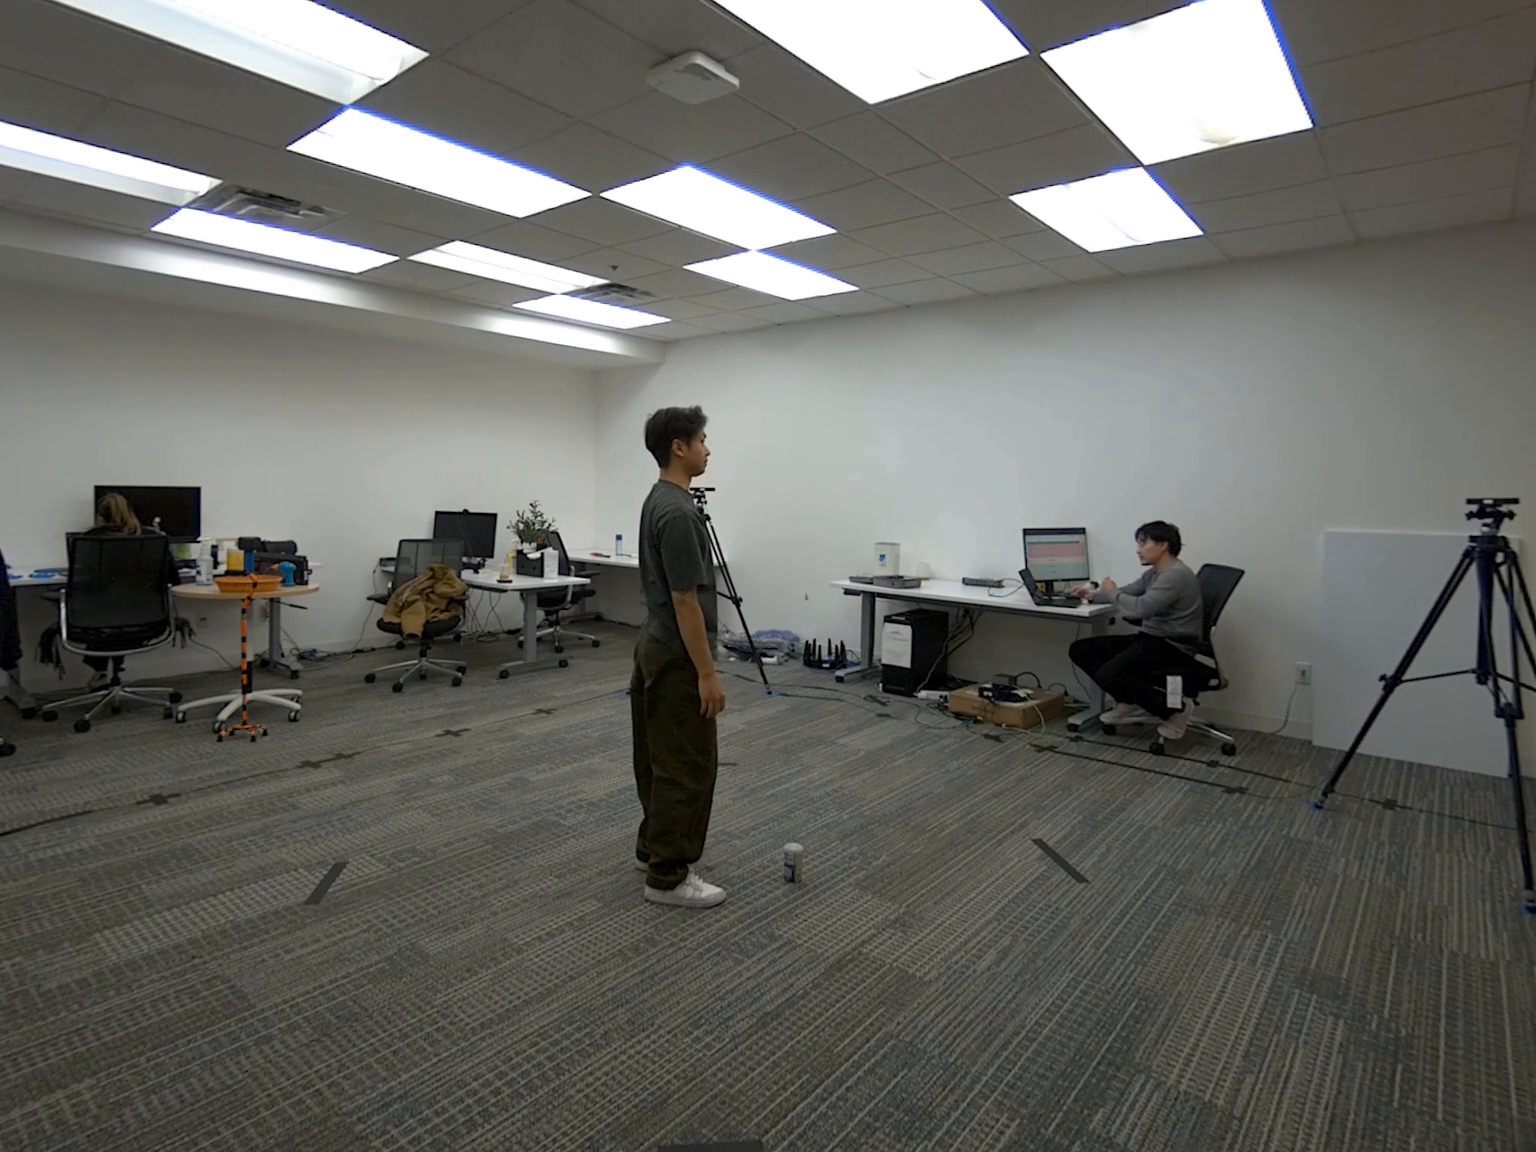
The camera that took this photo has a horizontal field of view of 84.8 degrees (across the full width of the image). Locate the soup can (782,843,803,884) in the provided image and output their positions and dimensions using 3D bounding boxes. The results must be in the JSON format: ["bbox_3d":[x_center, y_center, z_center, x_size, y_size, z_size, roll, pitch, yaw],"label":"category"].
[{"bbox_3d":[0.079,1.017,3.035,0.067,0.121,0.067,1,2,-2],"label":"soup can"}]
